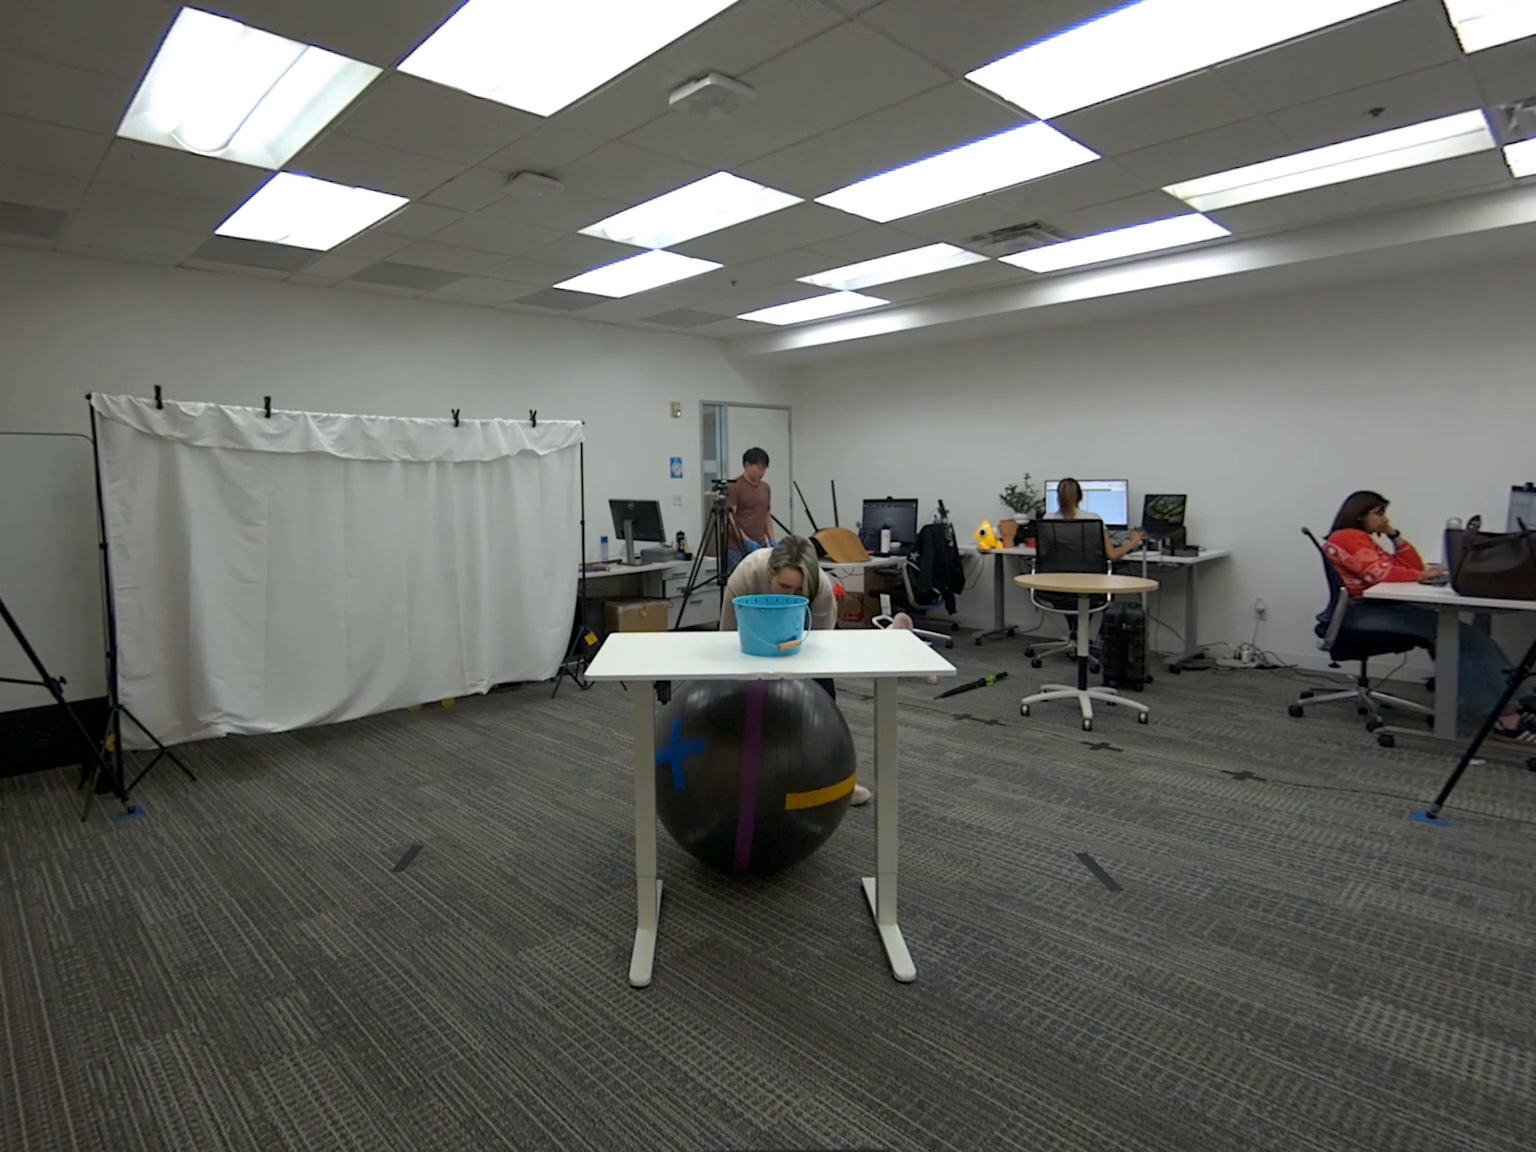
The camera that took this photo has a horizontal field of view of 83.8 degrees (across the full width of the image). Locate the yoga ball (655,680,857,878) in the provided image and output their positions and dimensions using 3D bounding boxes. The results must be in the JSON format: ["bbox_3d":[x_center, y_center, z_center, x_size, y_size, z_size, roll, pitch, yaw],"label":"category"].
[{"bbox_3d":[-0.063,0.682,3.095,0.757,0.755,0.762,-1,5,-2],"label":"yoga ball"}]
